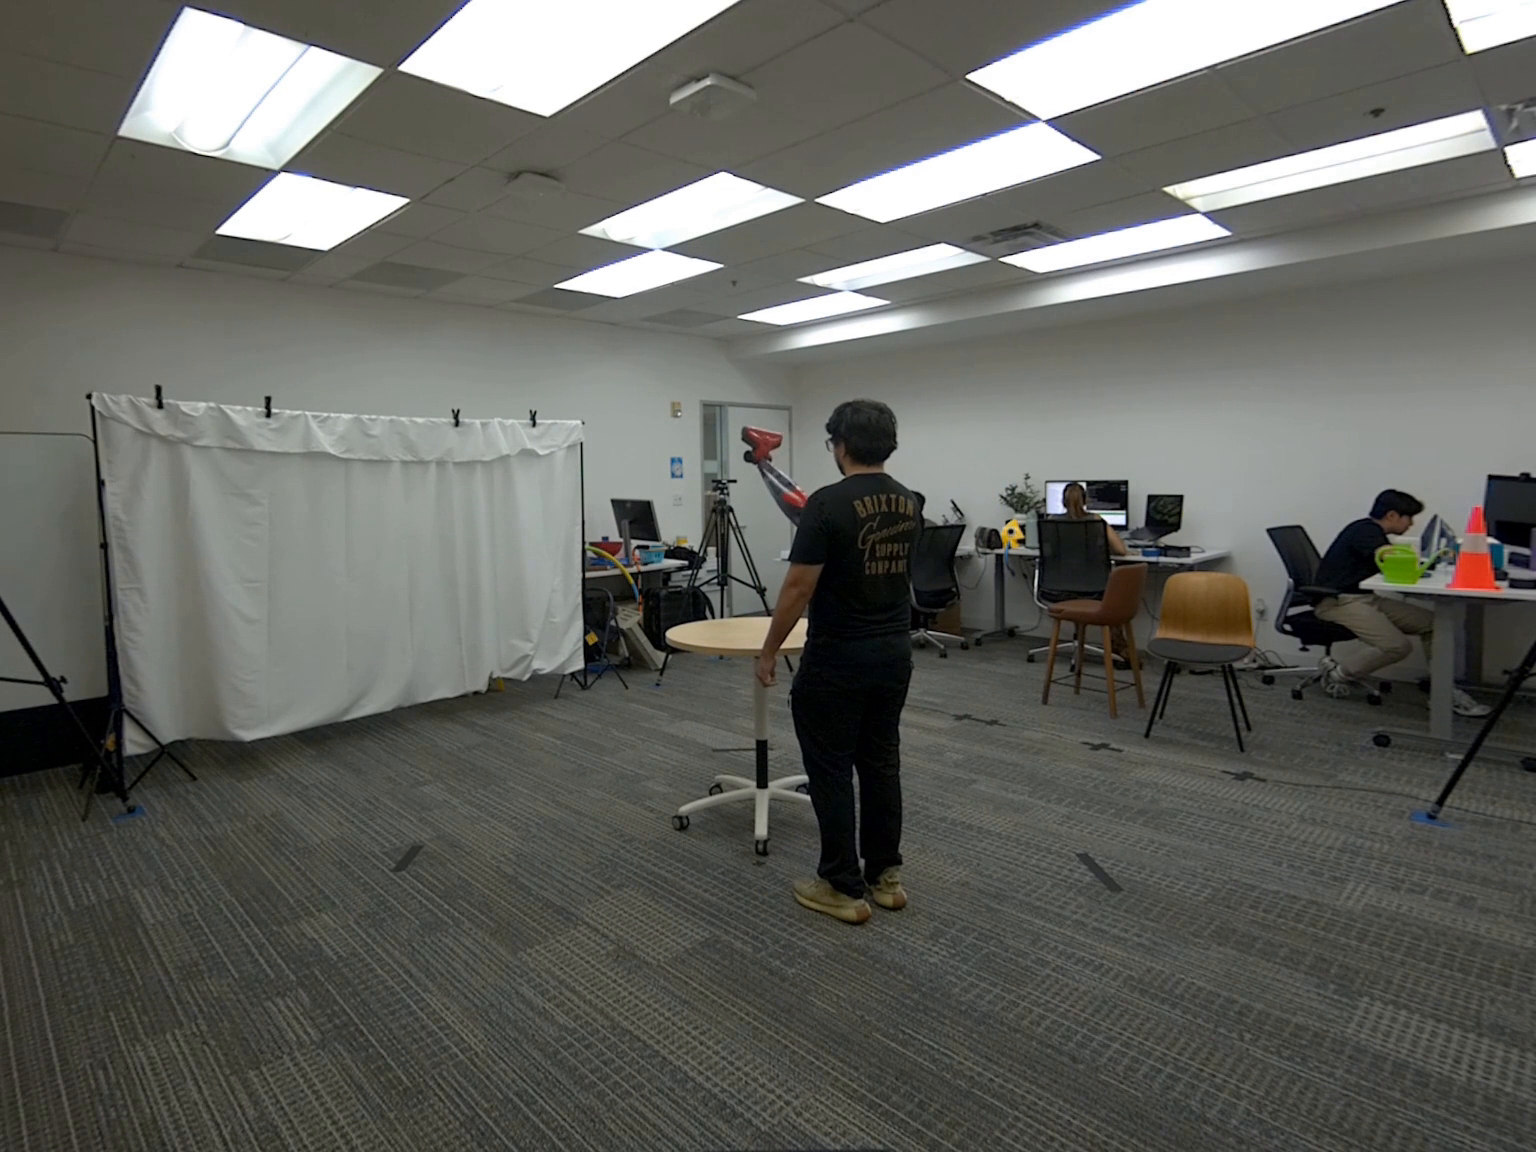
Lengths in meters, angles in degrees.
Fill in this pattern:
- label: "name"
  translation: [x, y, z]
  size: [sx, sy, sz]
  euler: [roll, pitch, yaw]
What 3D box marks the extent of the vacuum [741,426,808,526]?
- label: "vacuum"
  translation: [0.194, -0.138, 3.383]
  size: [0.245, 1.081, 0.144]
  euler: [2, -39, -47]
